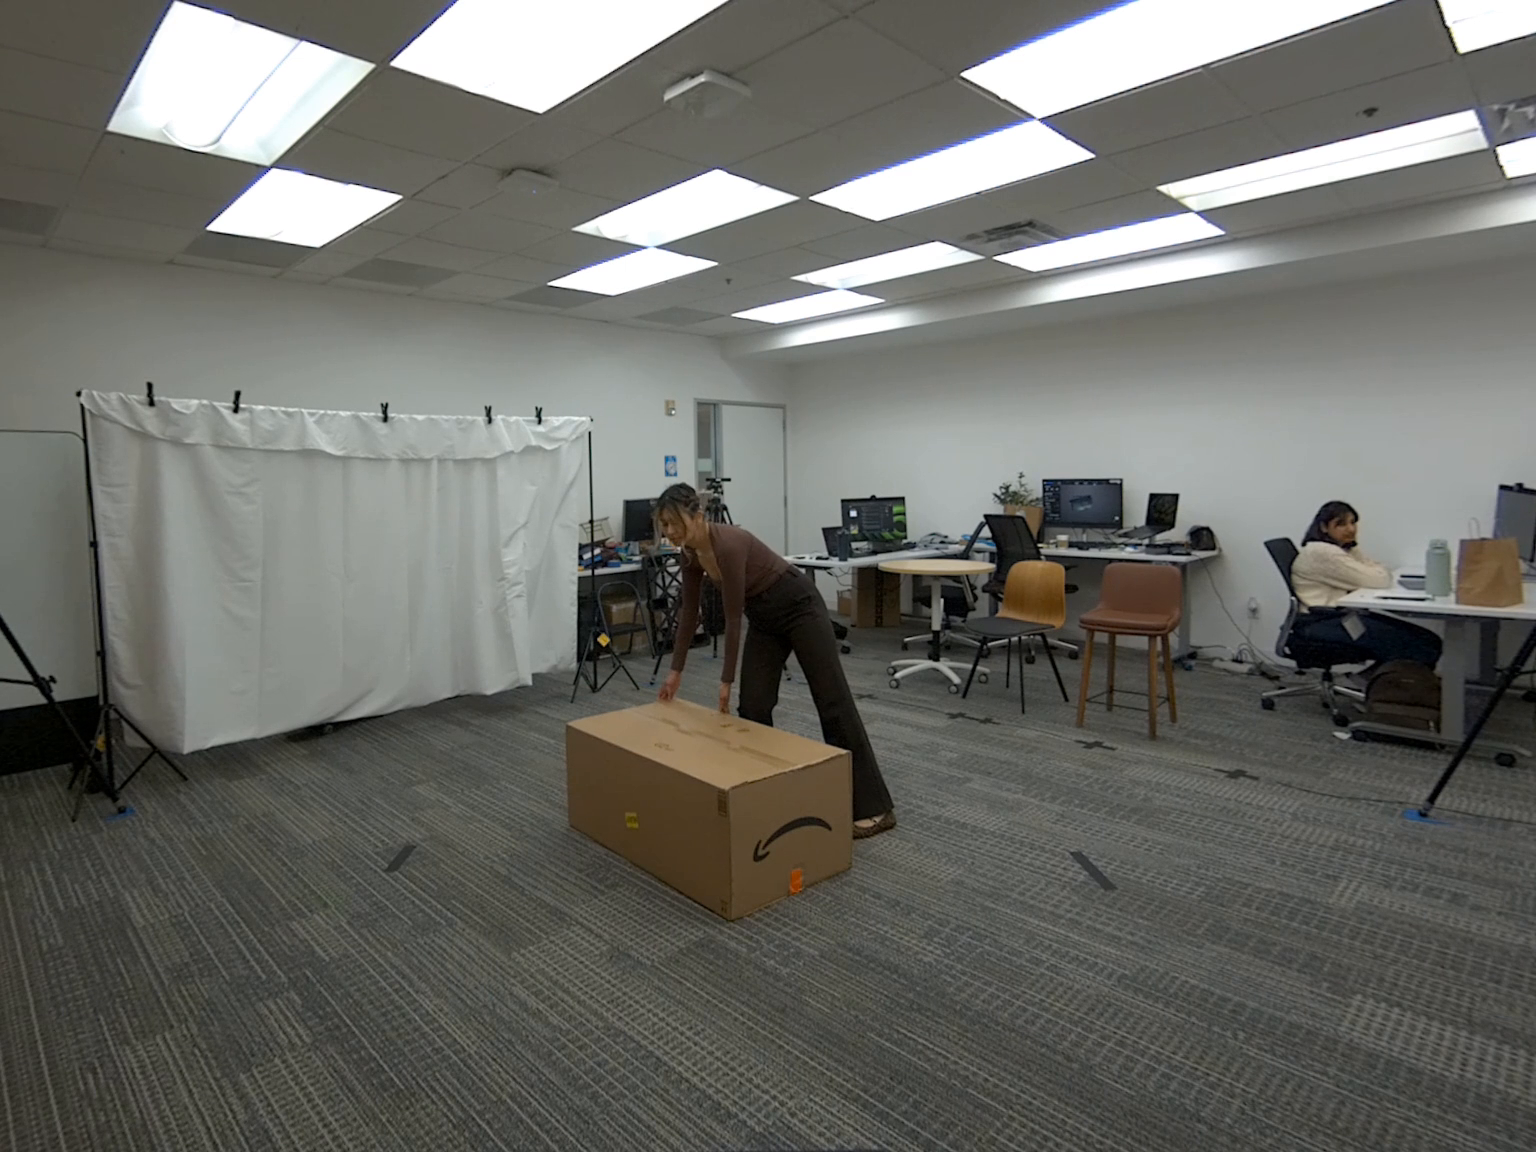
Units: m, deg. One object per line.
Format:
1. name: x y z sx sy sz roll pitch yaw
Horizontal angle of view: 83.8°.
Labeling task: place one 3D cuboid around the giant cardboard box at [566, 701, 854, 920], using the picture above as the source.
1. giant cardboard box: -0.260 0.819 3.244 0.569 0.445 1.058 -7 8 -41
